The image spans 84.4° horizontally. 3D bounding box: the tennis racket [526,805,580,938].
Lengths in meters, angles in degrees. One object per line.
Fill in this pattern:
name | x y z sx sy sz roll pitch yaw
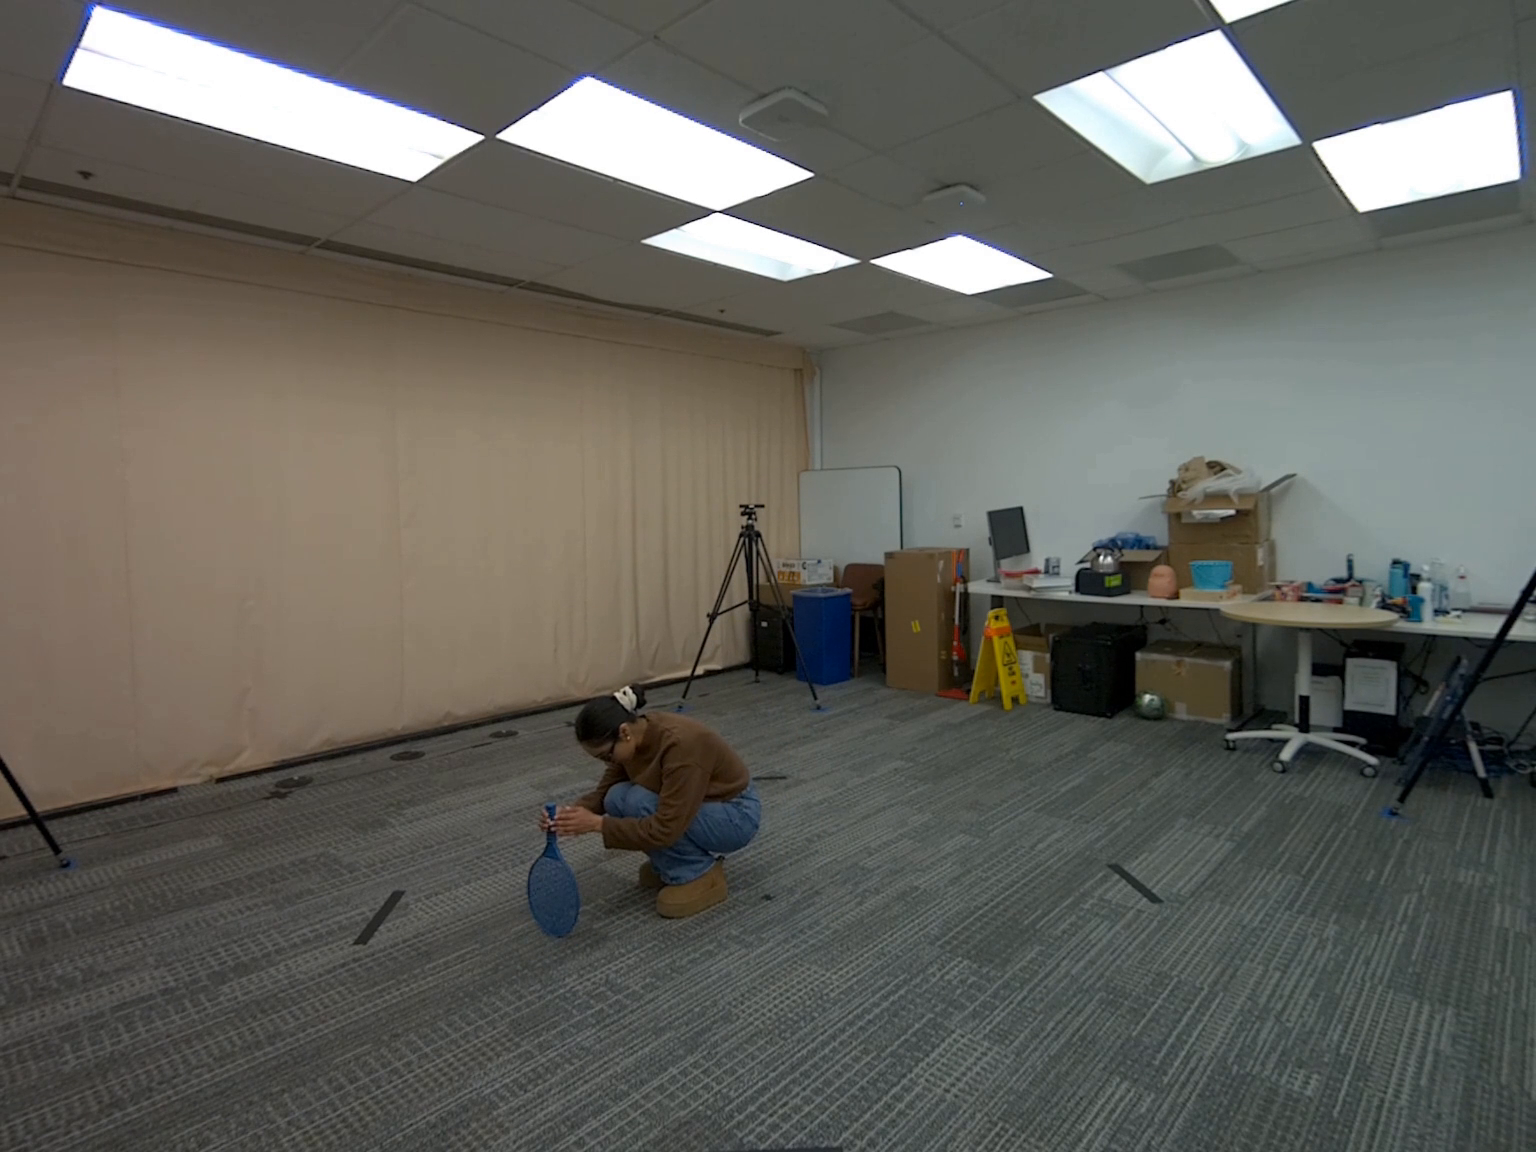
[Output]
tennis racket | -0.704 0.963 2.738 0.220 0.432 0.031 4 3 29
